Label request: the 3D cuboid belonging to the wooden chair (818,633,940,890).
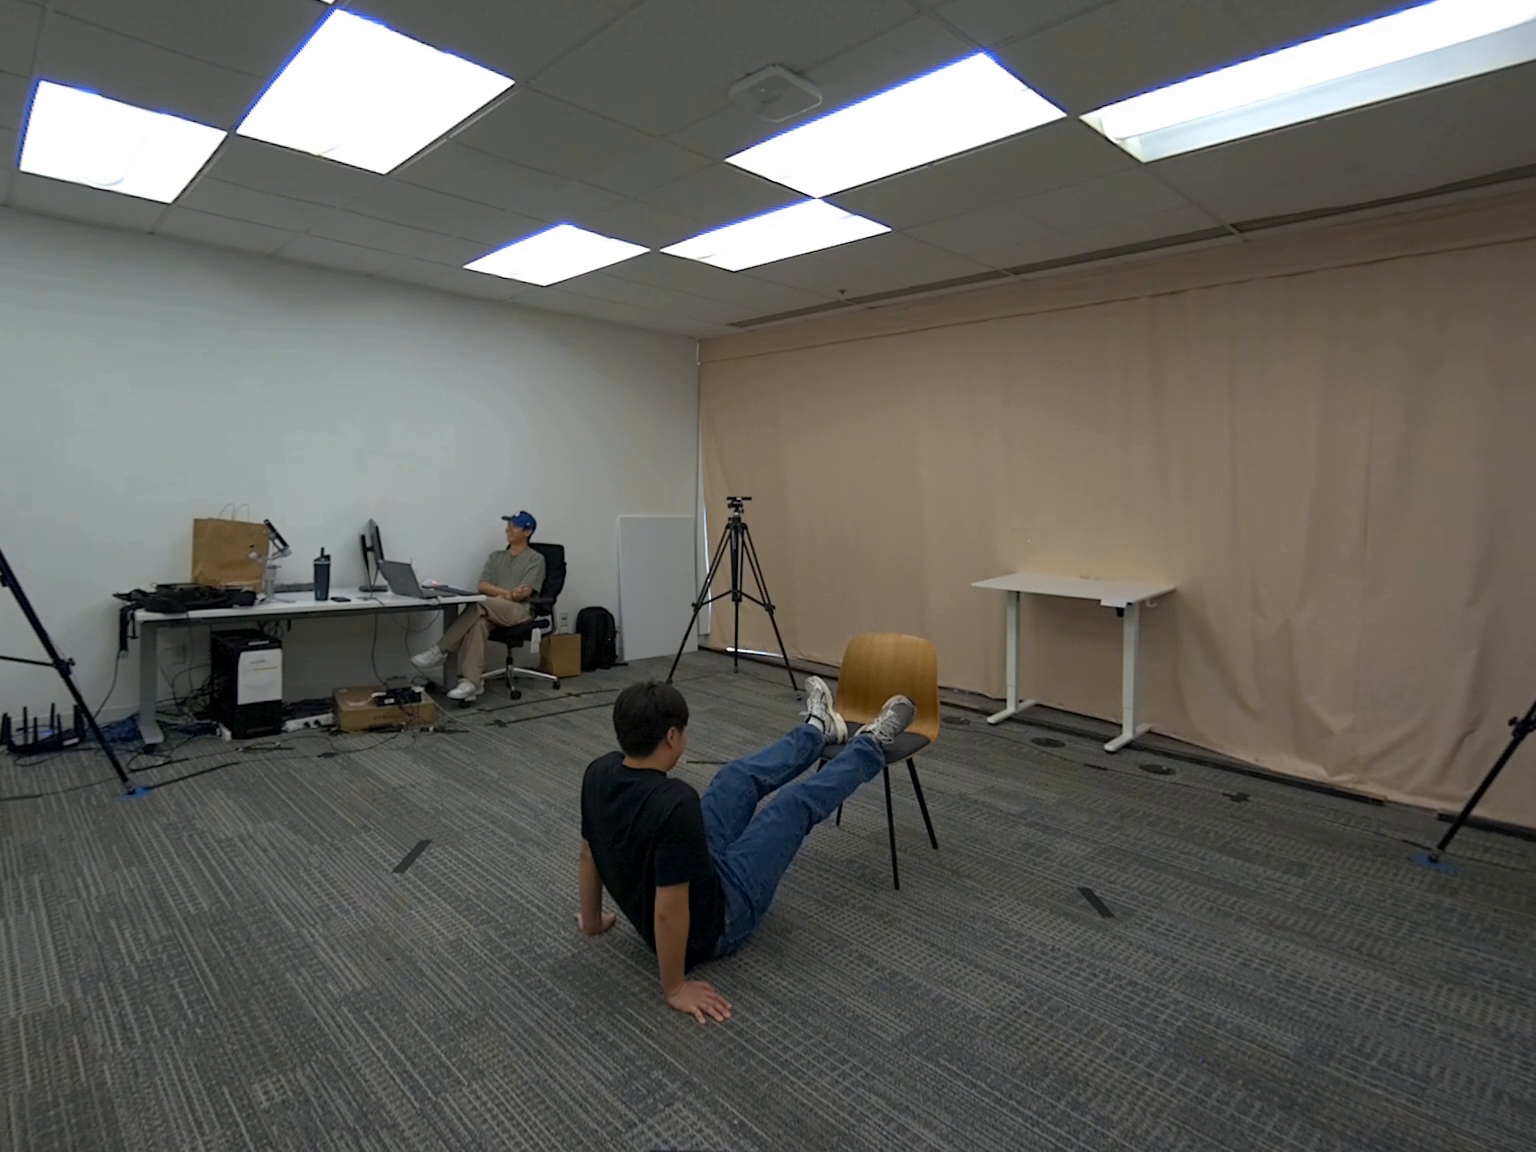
[{"bbox_3d":[0.384,0.675,3.296,0.489,0.878,0.511,3,-1,31],"label":"wooden chair"}]
